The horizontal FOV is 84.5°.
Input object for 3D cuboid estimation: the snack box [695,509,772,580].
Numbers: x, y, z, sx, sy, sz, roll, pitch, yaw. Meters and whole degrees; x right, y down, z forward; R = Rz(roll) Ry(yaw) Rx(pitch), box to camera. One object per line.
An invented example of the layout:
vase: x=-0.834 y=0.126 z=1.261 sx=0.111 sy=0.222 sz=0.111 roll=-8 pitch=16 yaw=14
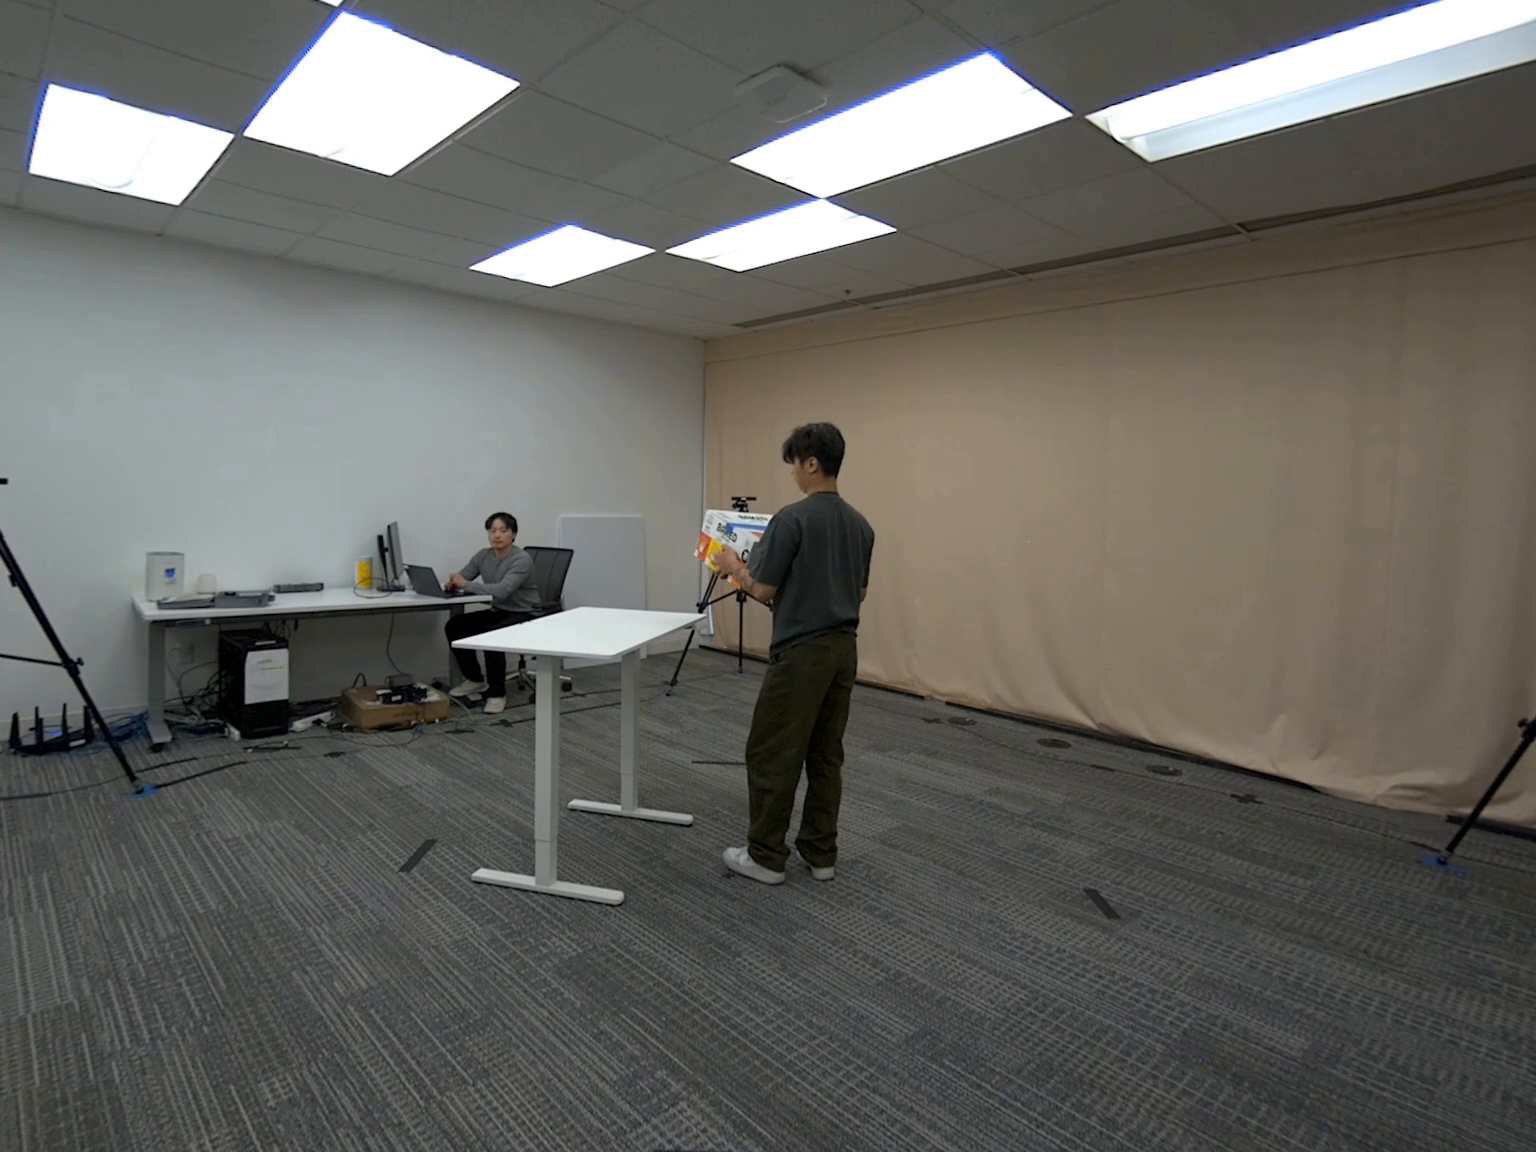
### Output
snack box: x=-0.026 y=-0.102 z=3.408 sx=0.395 sy=0.204 sz=0.351 roll=2 pitch=22 yaw=-38
